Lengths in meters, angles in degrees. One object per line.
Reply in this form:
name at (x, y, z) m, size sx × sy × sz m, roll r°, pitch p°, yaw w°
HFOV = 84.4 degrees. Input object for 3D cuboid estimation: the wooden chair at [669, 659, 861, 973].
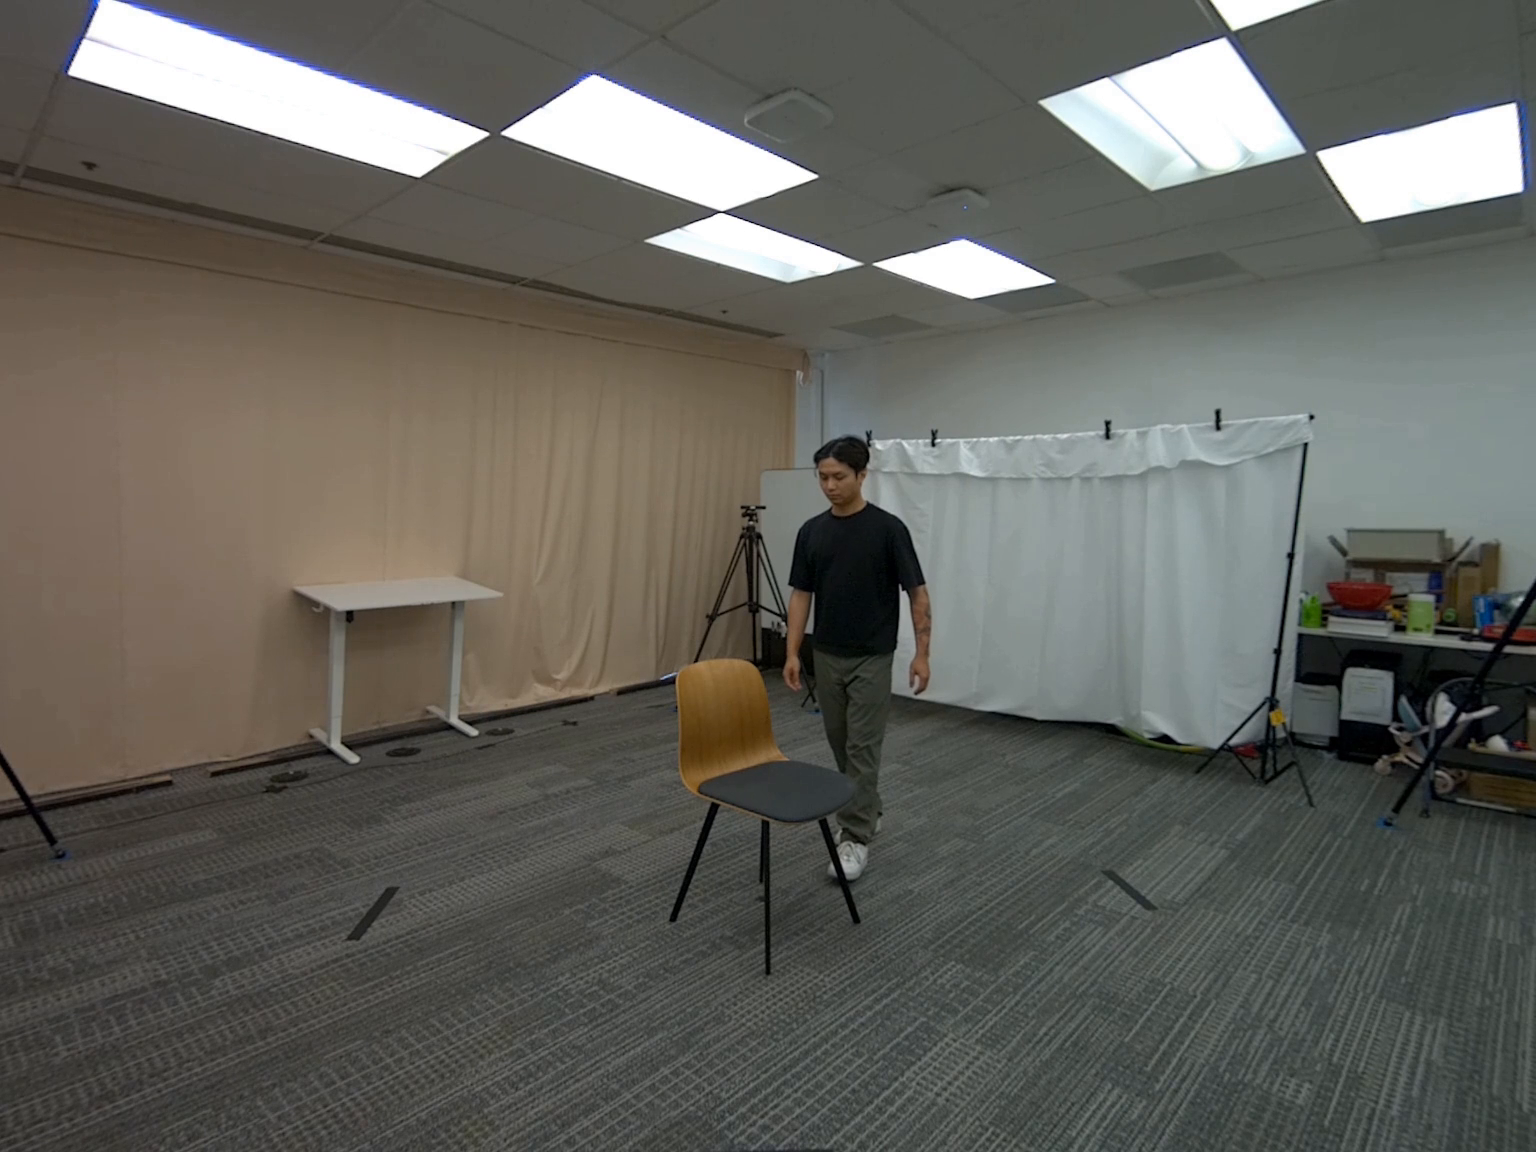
wooden chair at (-0.008, 0.735, 2.775) m, size 0.463 × 0.877 × 0.539 m, roll -3°, pitch 0°, yaw -45°
